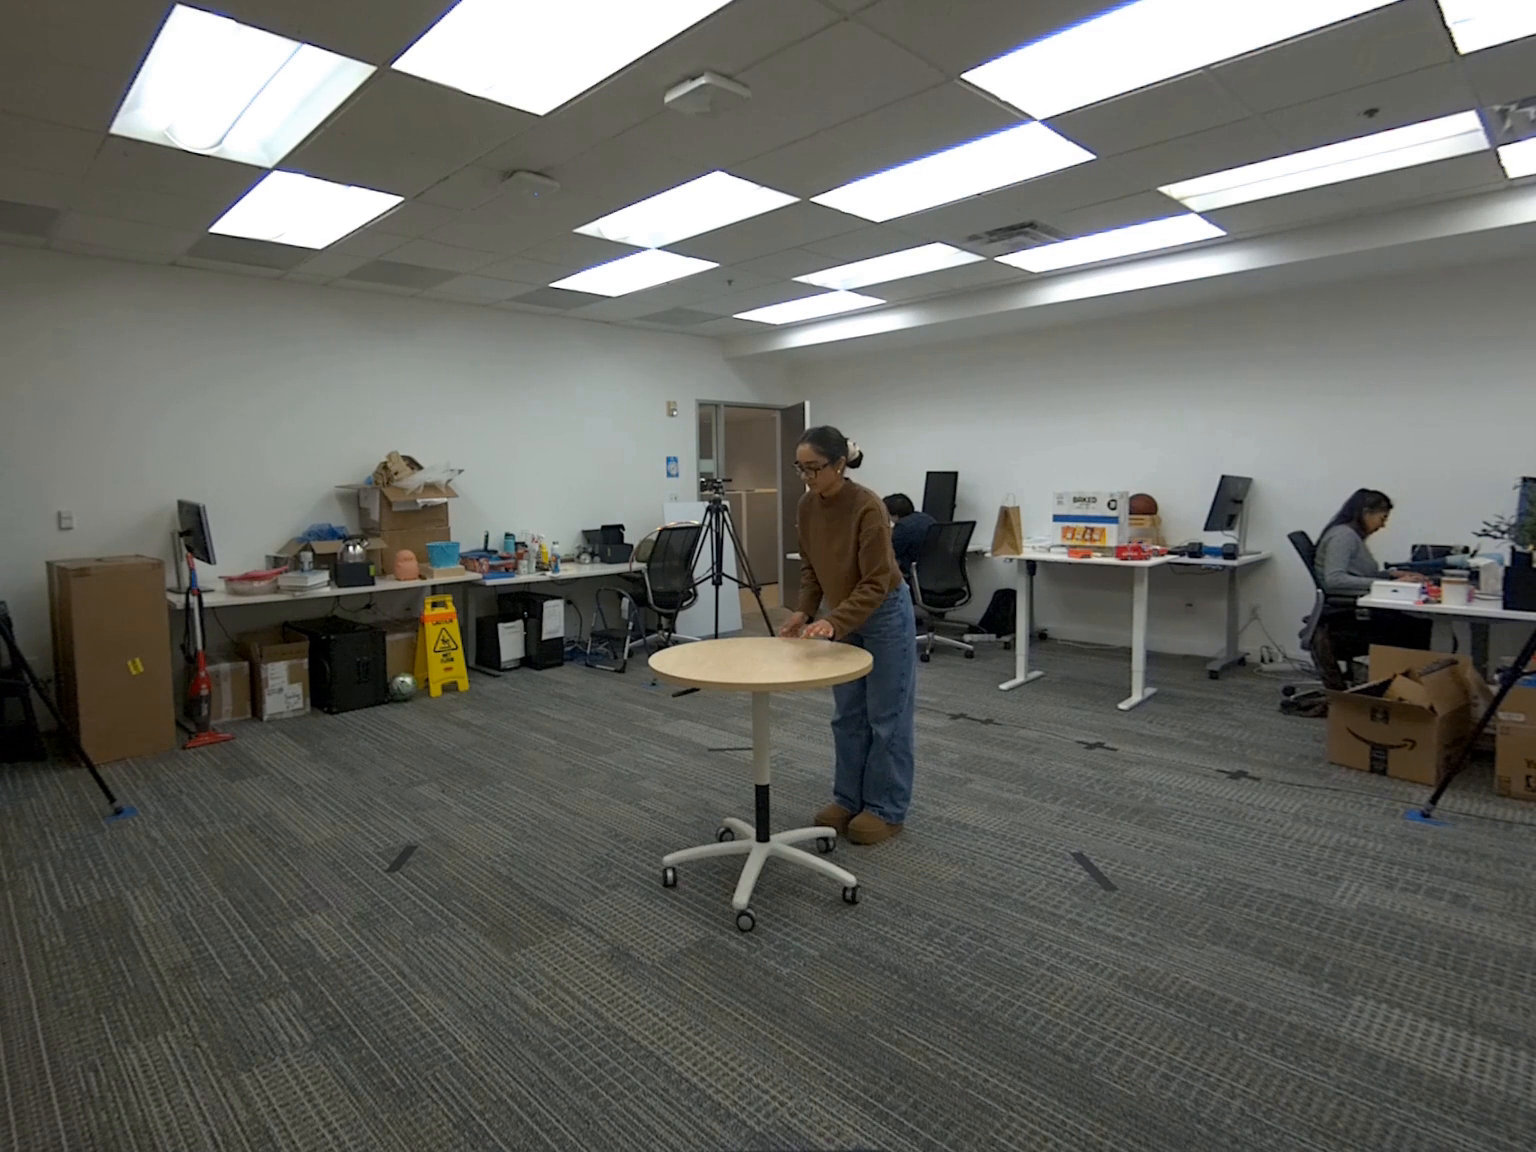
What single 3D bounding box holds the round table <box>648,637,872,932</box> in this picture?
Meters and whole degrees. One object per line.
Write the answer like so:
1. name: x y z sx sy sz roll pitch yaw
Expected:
1. round table: -0.015 0.671 2.954 0.763 0.791 0.768 -1 4 -2
